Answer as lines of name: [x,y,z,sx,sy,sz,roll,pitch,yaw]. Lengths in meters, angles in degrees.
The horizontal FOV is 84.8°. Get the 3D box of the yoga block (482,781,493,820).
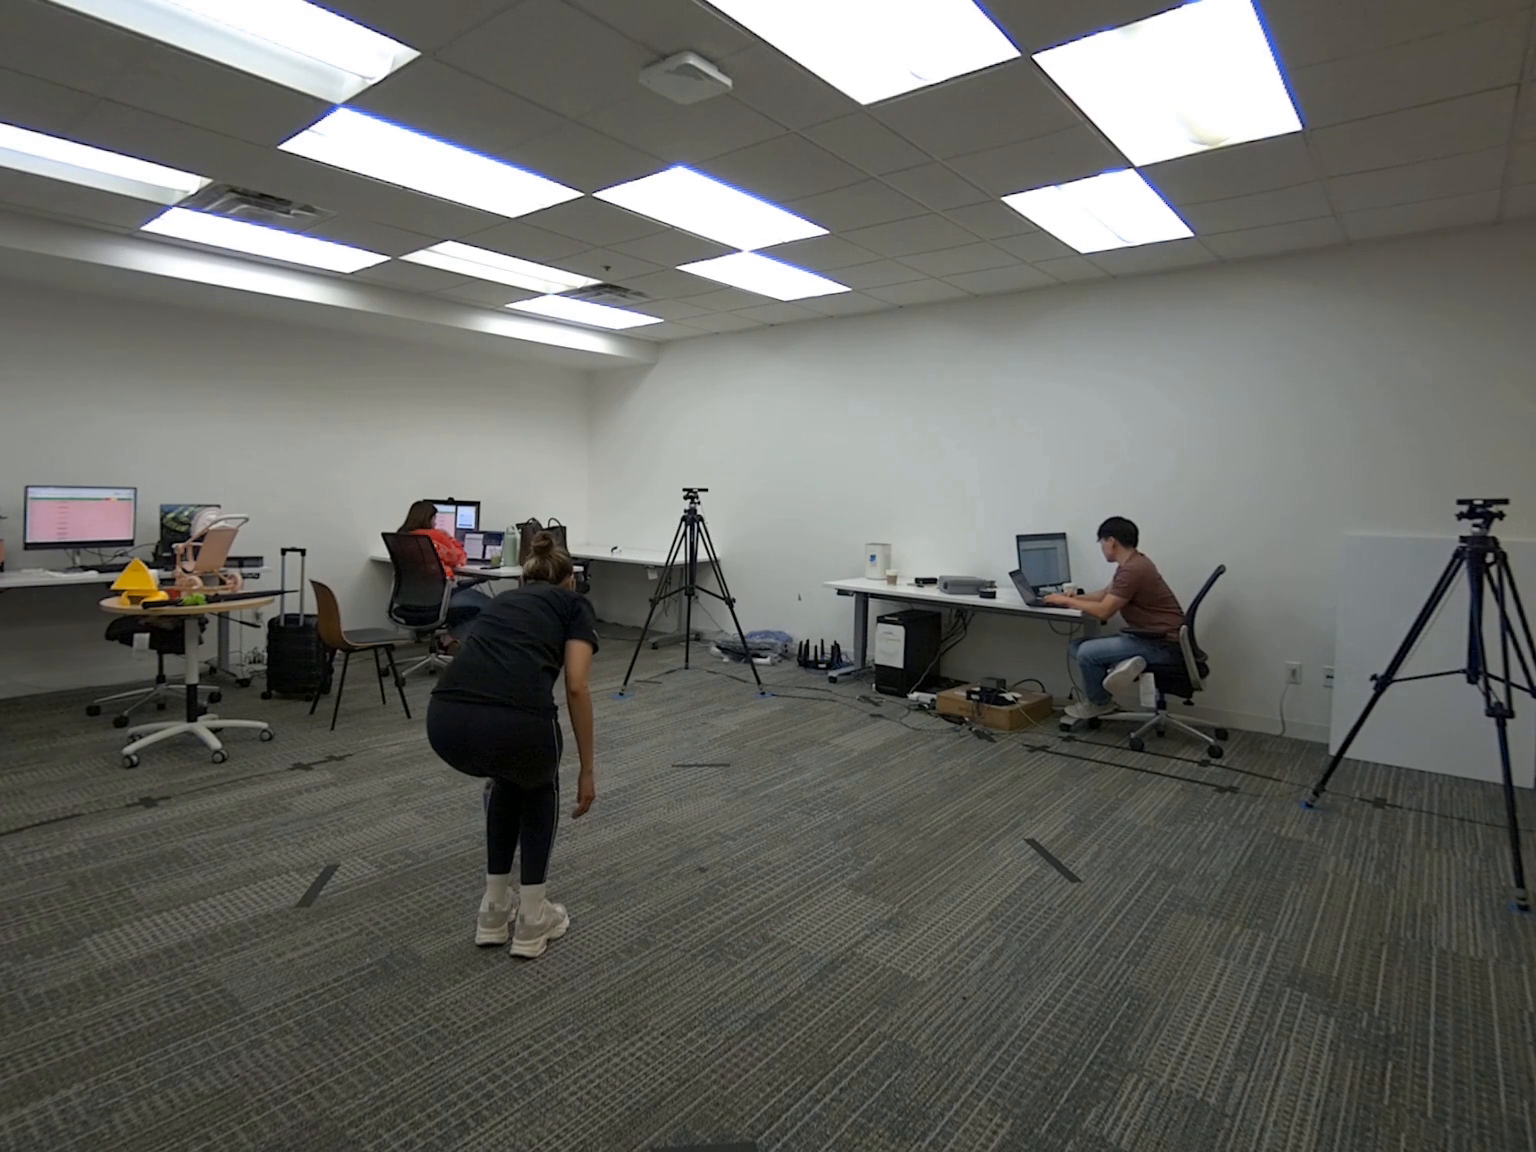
yoga block: [-0.955,0.855,3.095,0.078,0.229,0.146,-5,2,21]
